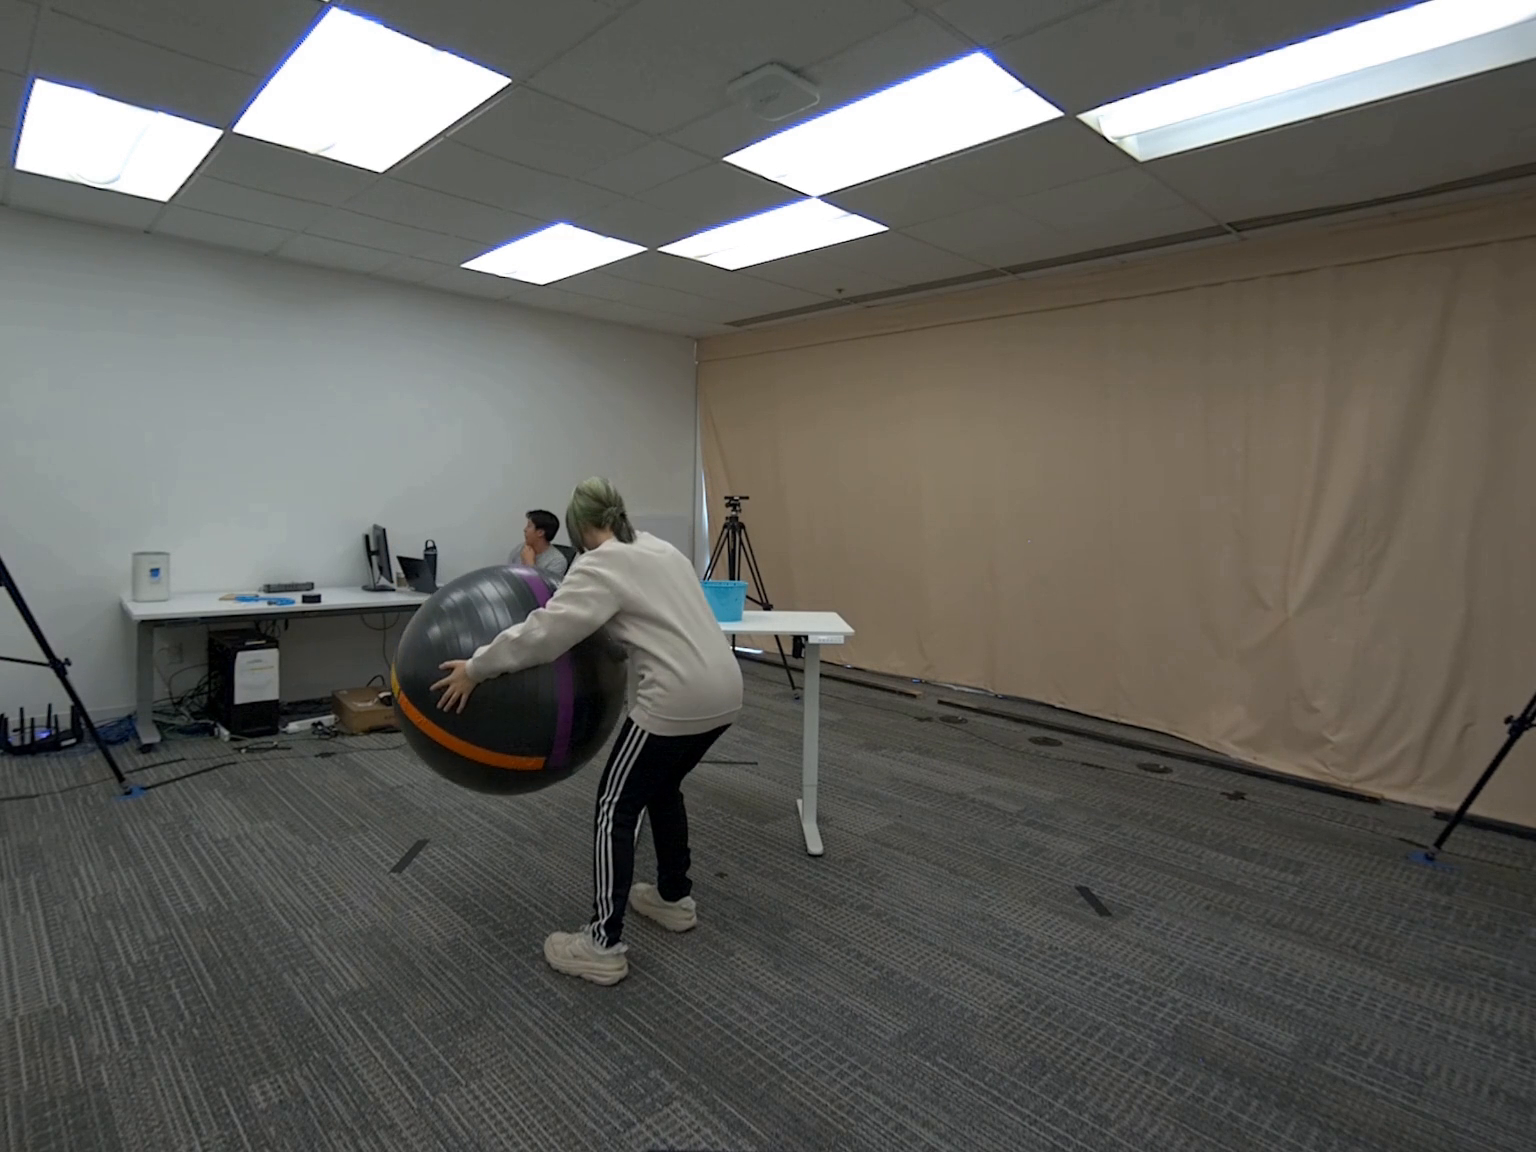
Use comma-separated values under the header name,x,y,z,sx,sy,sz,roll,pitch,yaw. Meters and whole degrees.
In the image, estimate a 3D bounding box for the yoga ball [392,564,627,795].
name,x,y,z,sx,sy,sz,roll,pitch,yaw
yoga ball,-0.866,0.341,2.822,0.757,0.756,0.761,1,4,-1
